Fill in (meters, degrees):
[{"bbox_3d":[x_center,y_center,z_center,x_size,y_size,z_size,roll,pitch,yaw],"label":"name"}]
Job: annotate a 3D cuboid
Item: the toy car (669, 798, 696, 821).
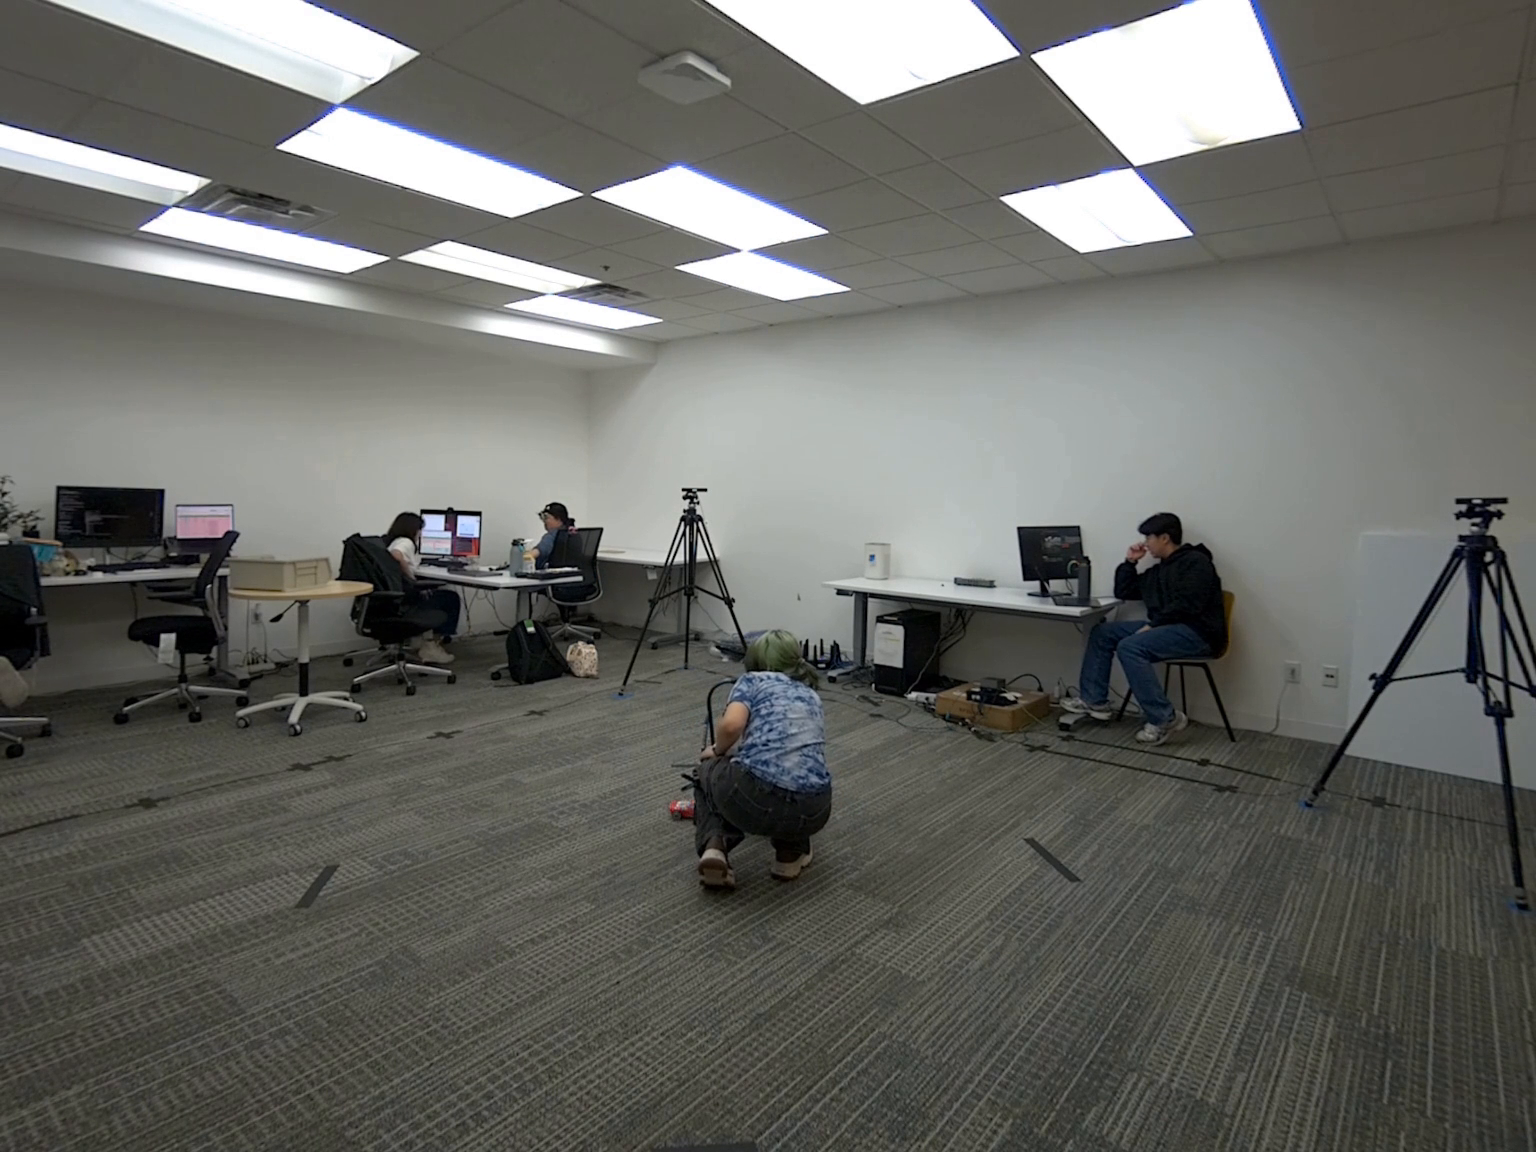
[{"bbox_3d":[-0.303,0.996,3.608,0.256,0.083,0.130,-12,5,5],"label":"toy car"}]
